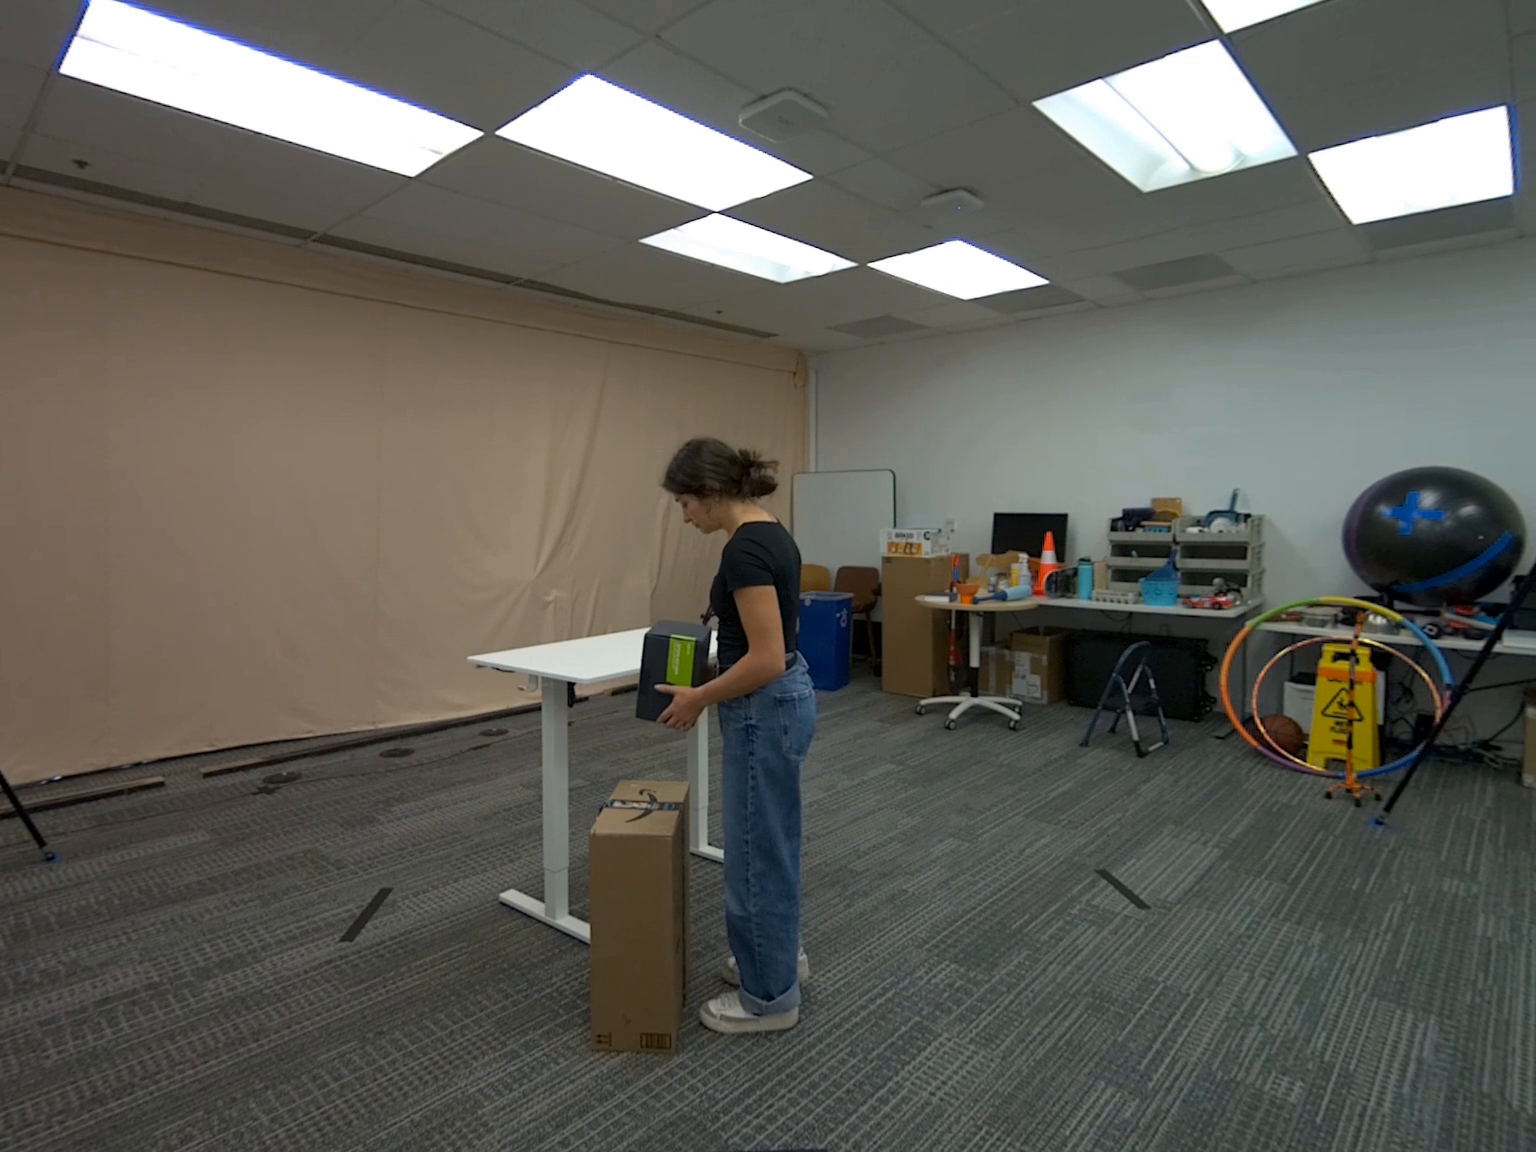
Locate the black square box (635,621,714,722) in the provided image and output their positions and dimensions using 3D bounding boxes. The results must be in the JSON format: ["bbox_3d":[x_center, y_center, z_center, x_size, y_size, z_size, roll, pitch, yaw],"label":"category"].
[{"bbox_3d":[-0.239,0.257,2.267,0.158,0.227,0.215,6,6,10],"label":"black square box"}]
